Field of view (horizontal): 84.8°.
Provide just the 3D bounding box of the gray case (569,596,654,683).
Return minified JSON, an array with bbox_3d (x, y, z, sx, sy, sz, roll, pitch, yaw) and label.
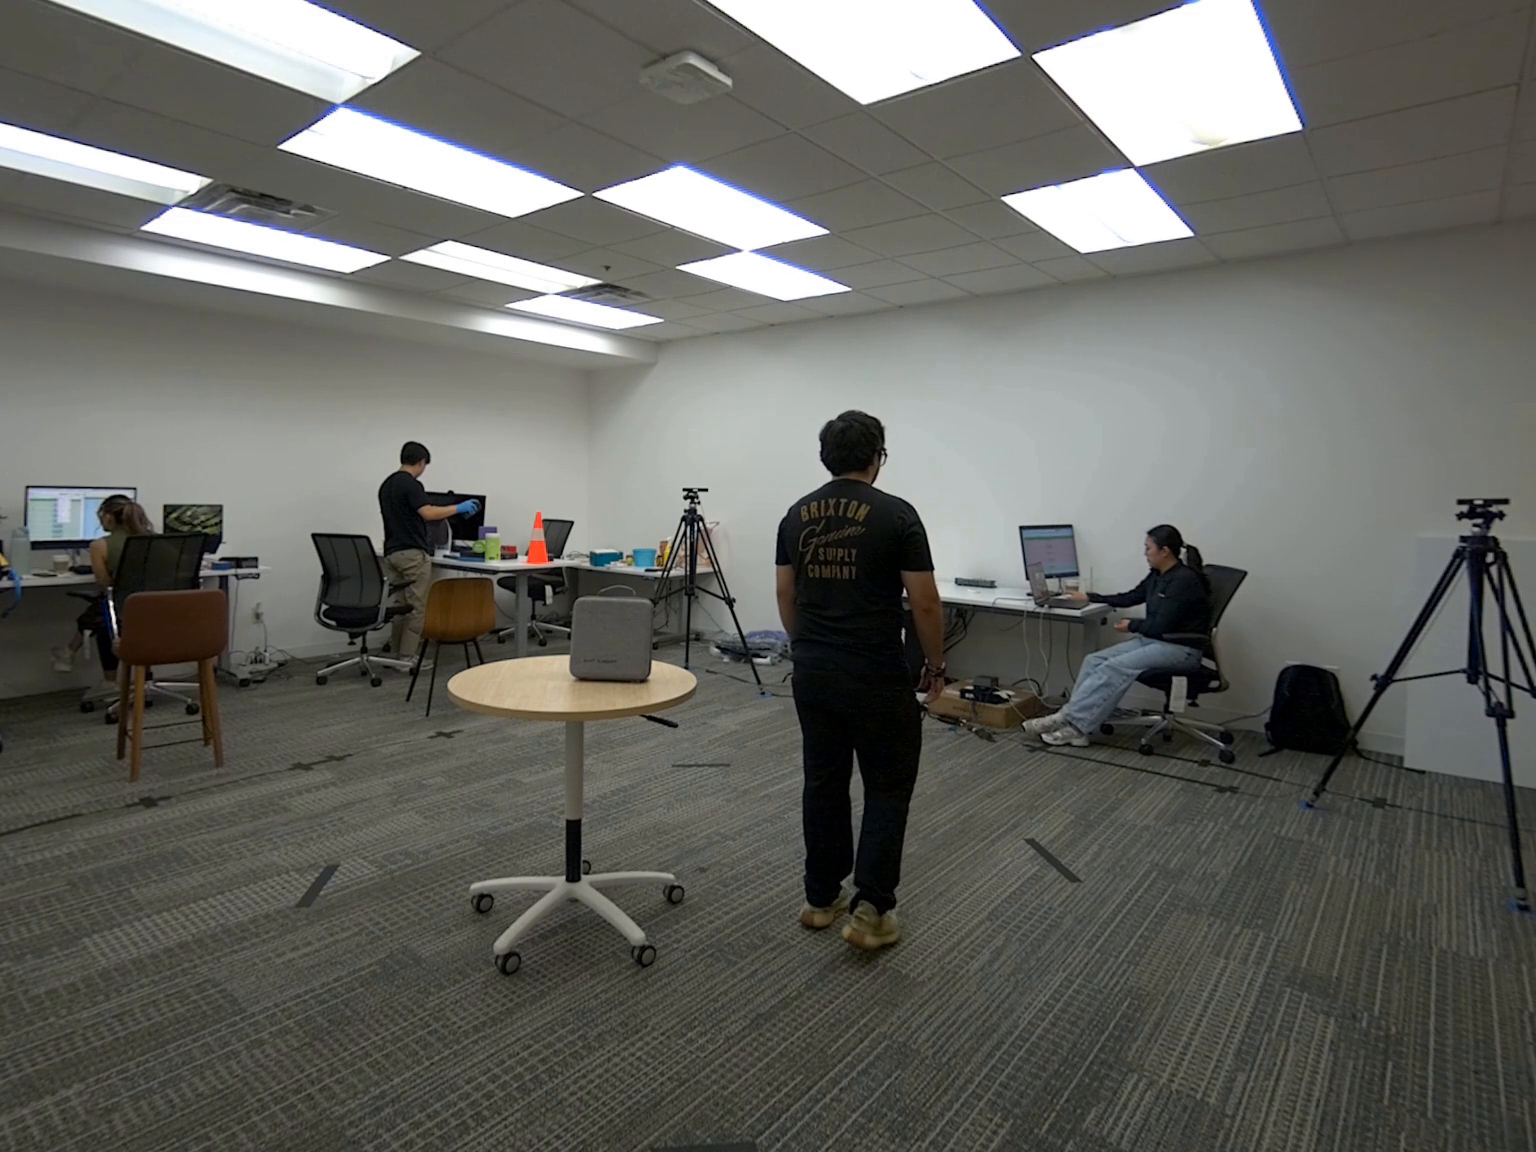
[{"bbox_3d":[-0.509,0.189,2.706,0.257,0.262,0.103,2,-8,2],"label":"gray case"}]
